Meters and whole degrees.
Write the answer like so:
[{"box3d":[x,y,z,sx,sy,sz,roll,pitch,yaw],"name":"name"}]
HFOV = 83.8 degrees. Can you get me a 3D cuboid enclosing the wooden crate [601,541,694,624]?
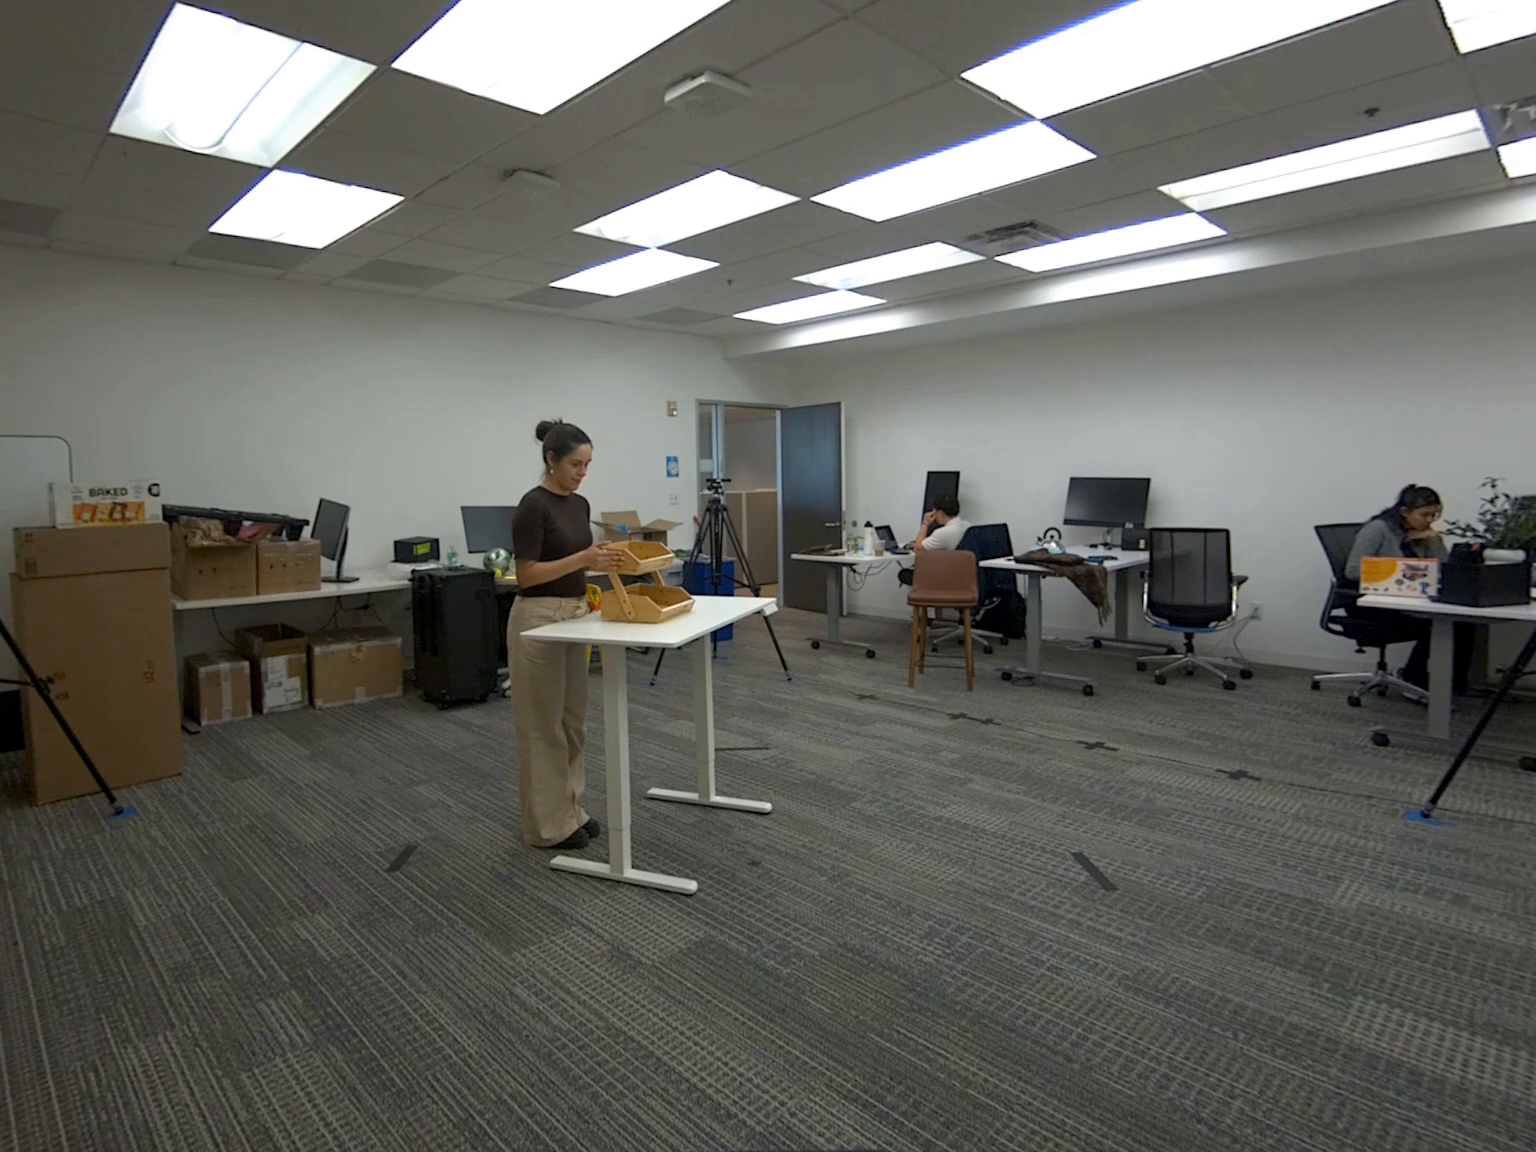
[{"box3d":[-0.469,0.011,3.244,0.308,0.272,0.319,3,6,20],"name":"wooden crate"}]
